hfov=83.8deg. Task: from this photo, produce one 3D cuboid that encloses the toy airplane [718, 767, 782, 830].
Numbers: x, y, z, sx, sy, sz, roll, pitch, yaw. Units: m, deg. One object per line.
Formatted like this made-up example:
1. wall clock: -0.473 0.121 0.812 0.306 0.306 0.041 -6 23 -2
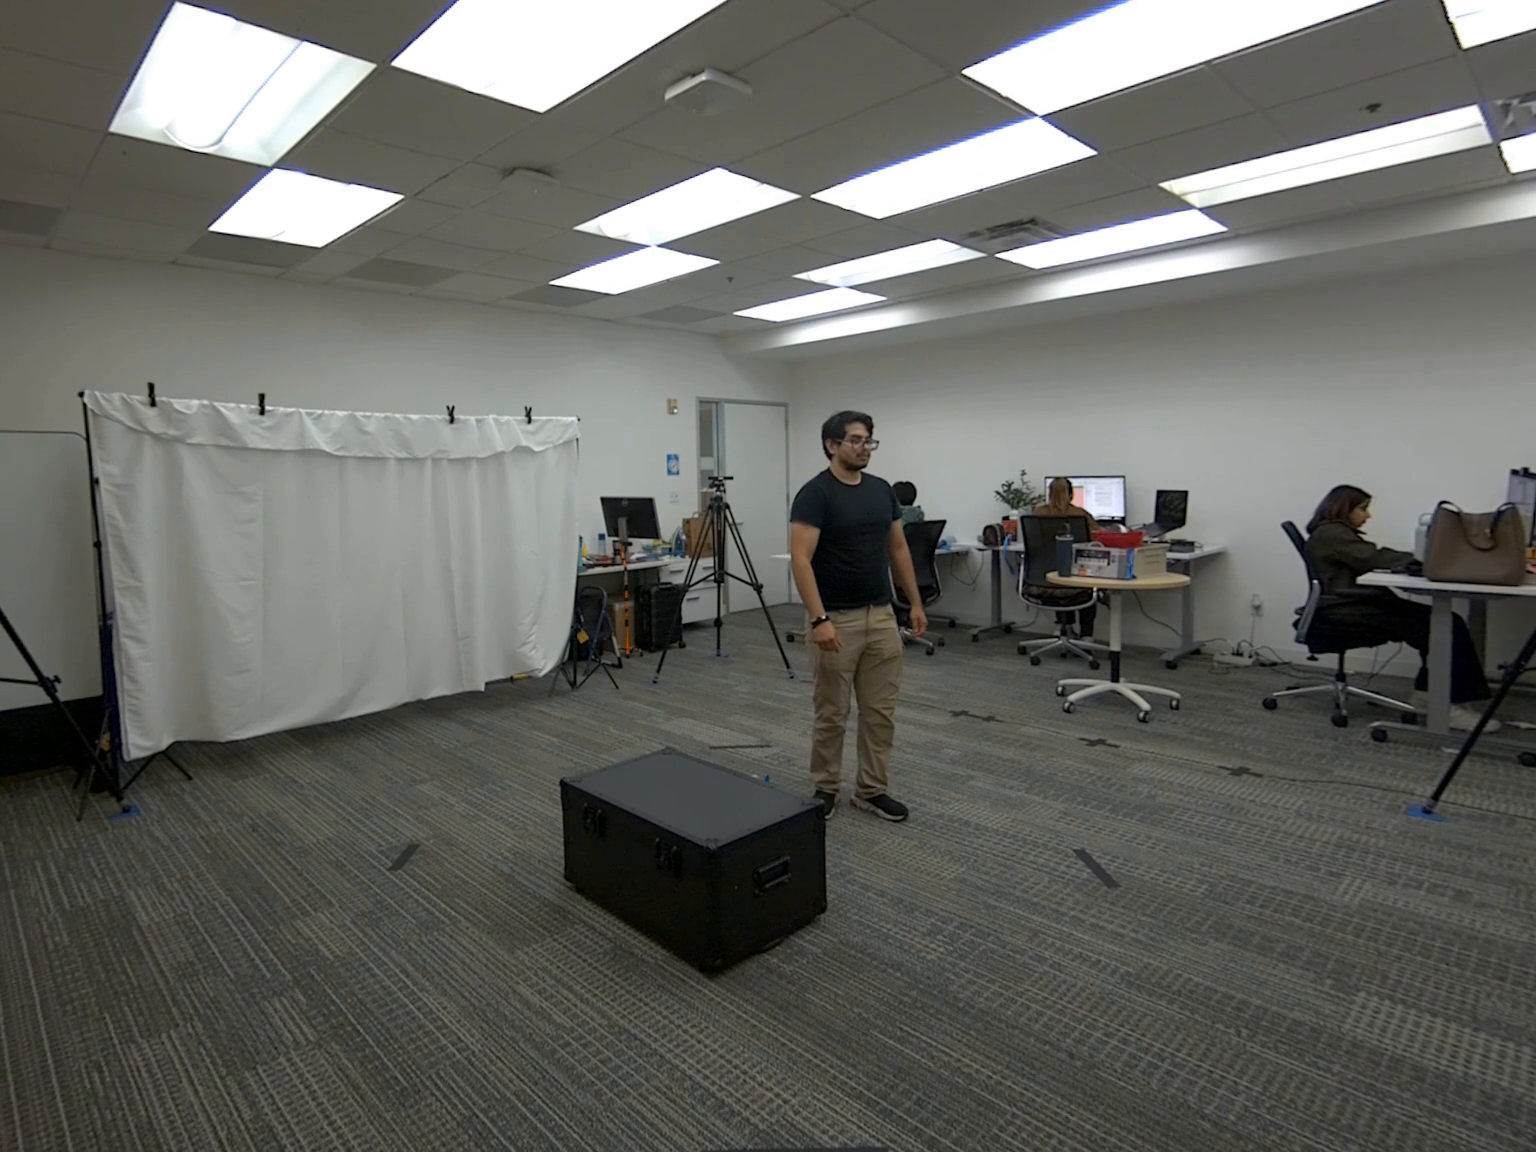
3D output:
1. toy airplane: -0.074 0.914 3.543 0.252 0.155 0.260 -1 7 1
